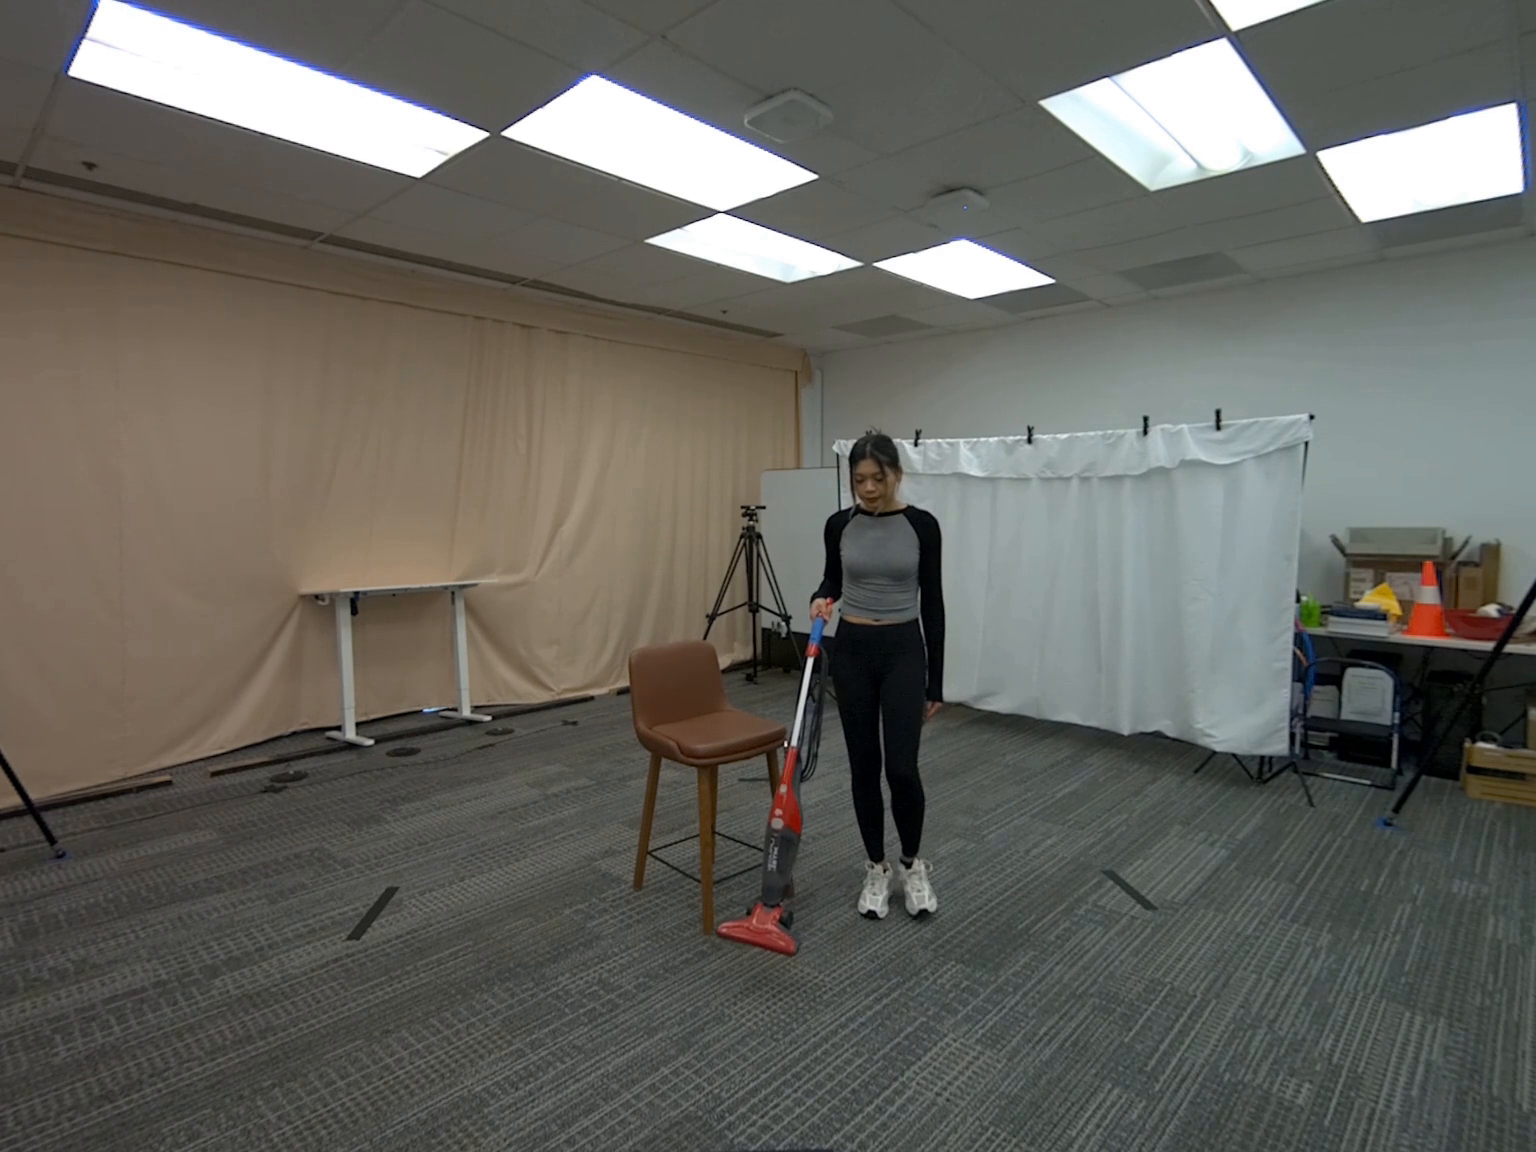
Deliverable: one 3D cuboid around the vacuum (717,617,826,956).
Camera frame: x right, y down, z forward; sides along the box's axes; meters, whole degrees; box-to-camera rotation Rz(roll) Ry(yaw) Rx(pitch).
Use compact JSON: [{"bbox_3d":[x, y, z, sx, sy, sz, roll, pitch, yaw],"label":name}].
[{"bbox_3d":[0.104,0.566,2.635,0.259,1.057,0.139,3,-25,24],"label":"vacuum"}]
